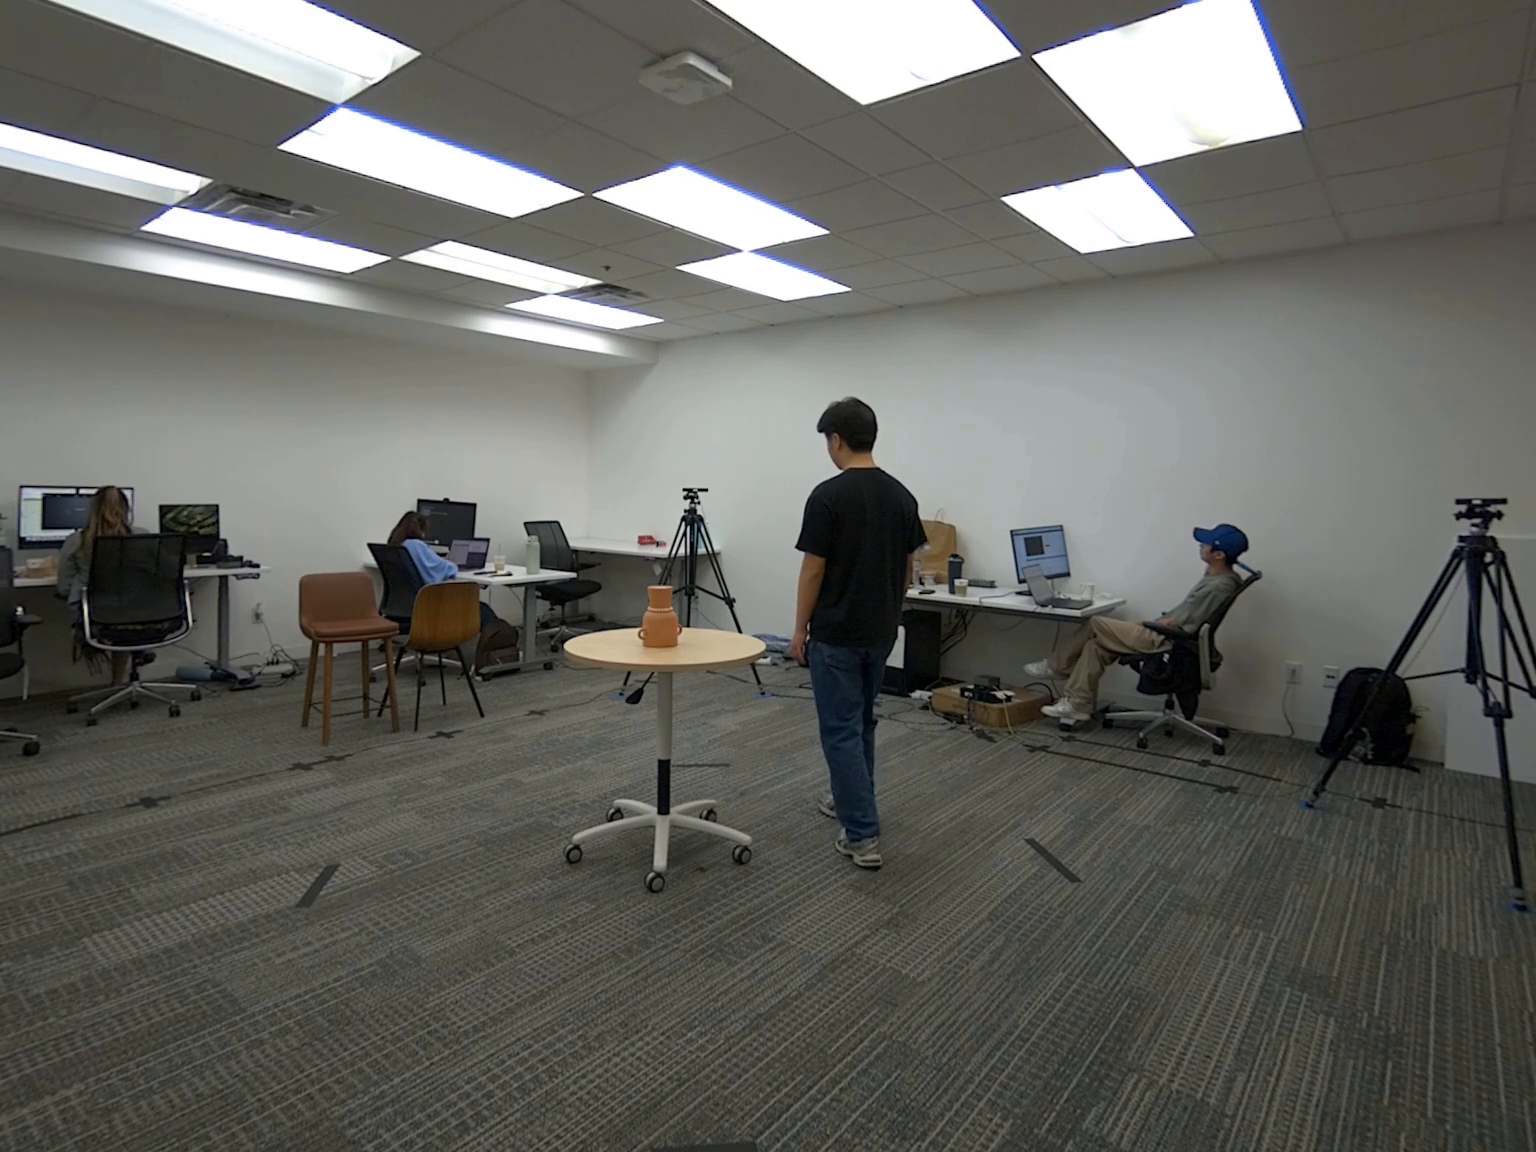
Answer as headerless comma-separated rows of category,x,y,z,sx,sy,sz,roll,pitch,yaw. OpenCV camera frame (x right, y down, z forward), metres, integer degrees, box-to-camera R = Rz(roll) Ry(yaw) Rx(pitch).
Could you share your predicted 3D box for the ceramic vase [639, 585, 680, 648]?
ceramic vase,-0.417,0.148,3.227,0.136,0.219,0.157,1,2,10
